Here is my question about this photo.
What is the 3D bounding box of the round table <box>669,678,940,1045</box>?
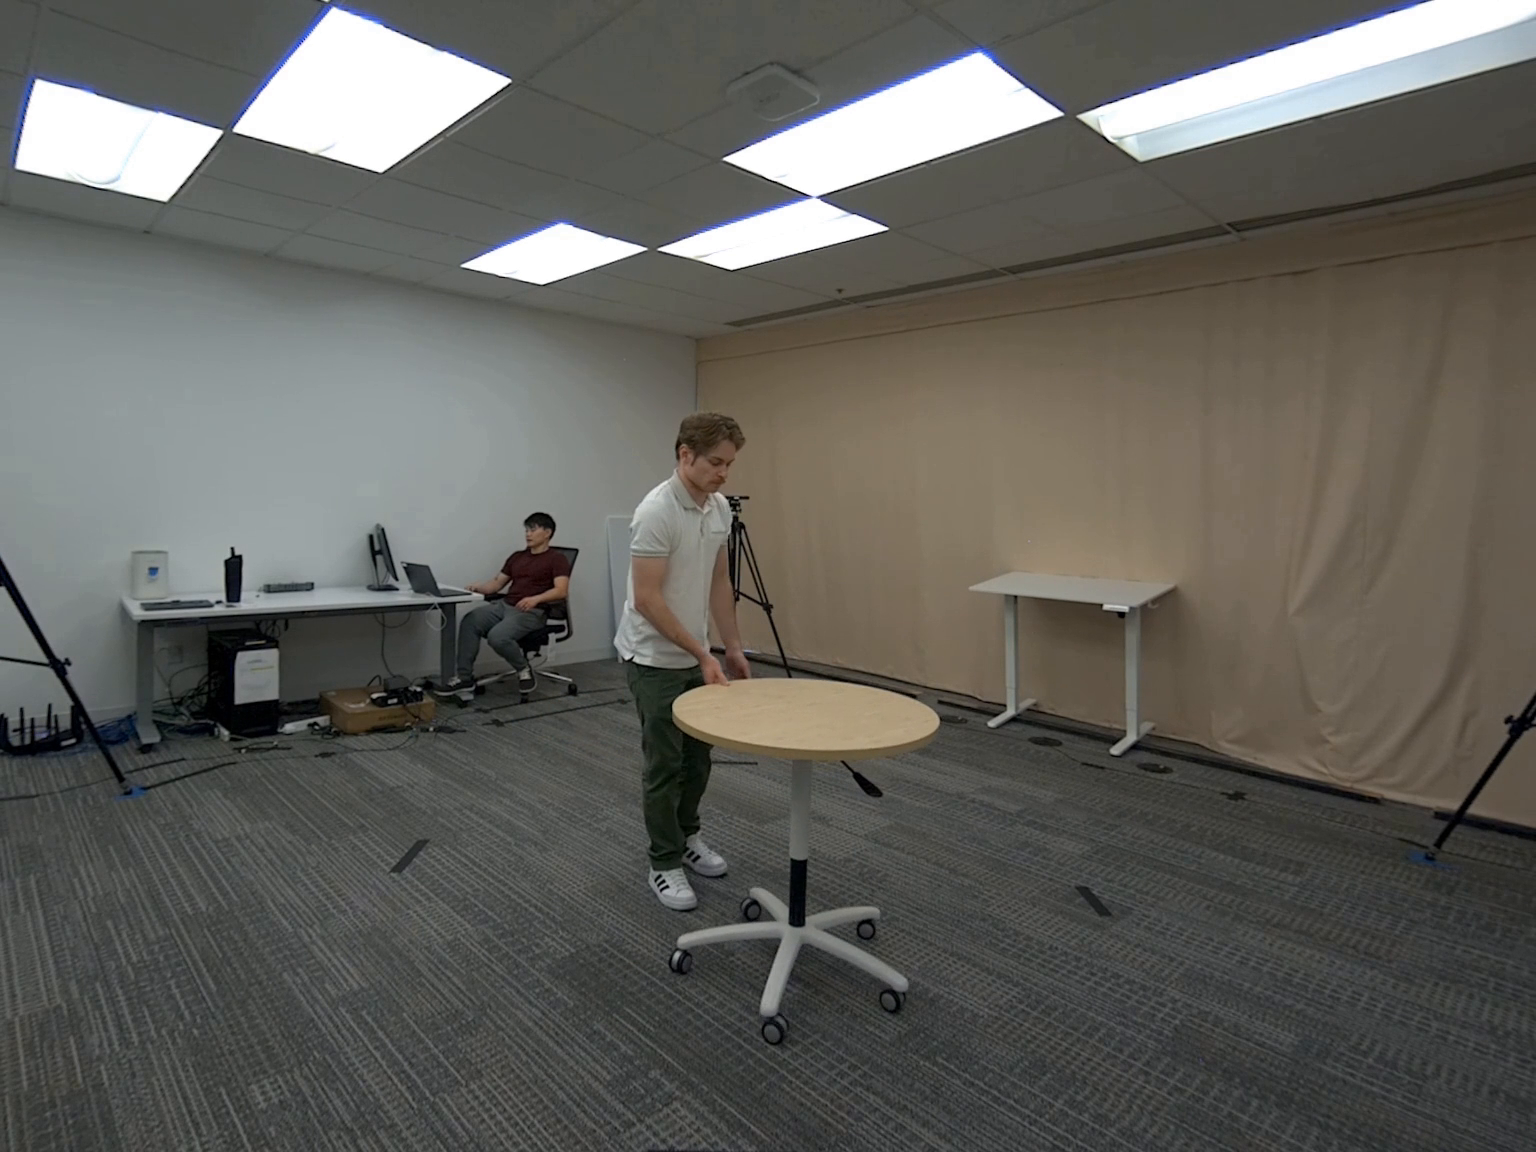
[{"bbox_3d":[0.090,0.783,2.461,0.763,0.791,0.767,2,5,-2],"label":"round table"}]
